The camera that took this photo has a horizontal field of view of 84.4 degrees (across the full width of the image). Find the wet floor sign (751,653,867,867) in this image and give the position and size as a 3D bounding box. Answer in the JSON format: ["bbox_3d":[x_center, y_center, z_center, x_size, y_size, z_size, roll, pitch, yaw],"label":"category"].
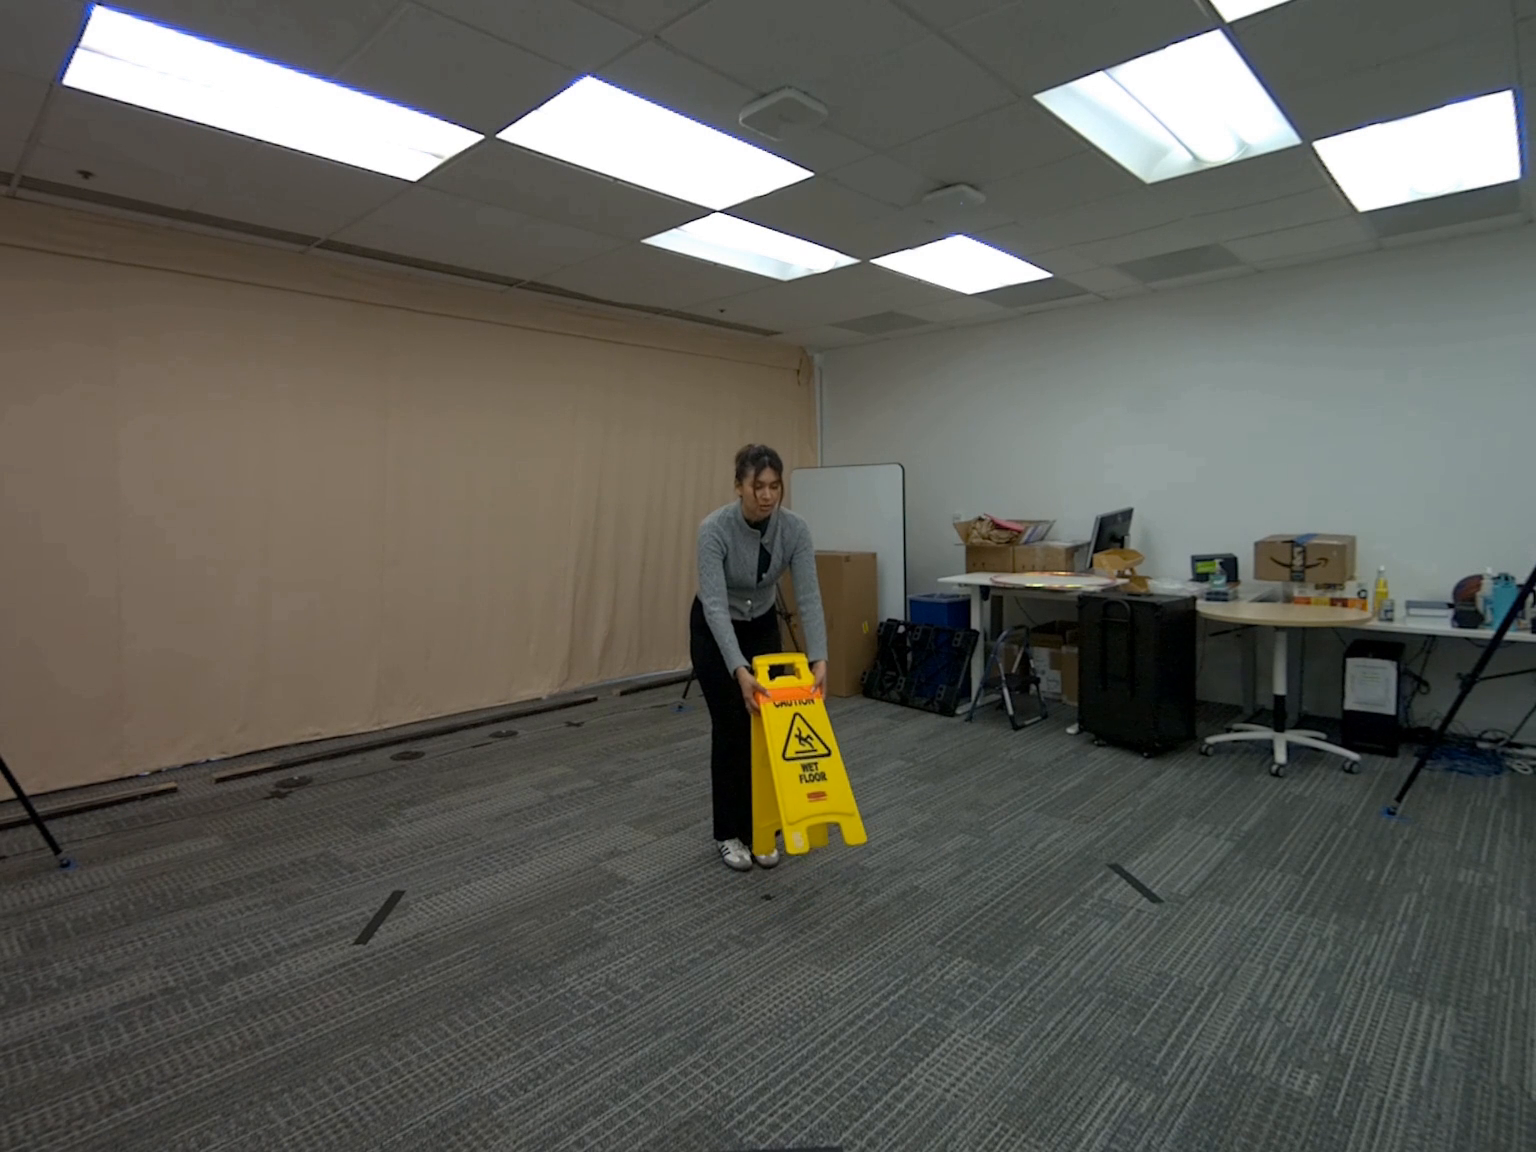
[{"bbox_3d":[0.096,0.584,2.836,0.276,0.655,0.292,-2,-18,-23],"label":"wet floor sign"}]
